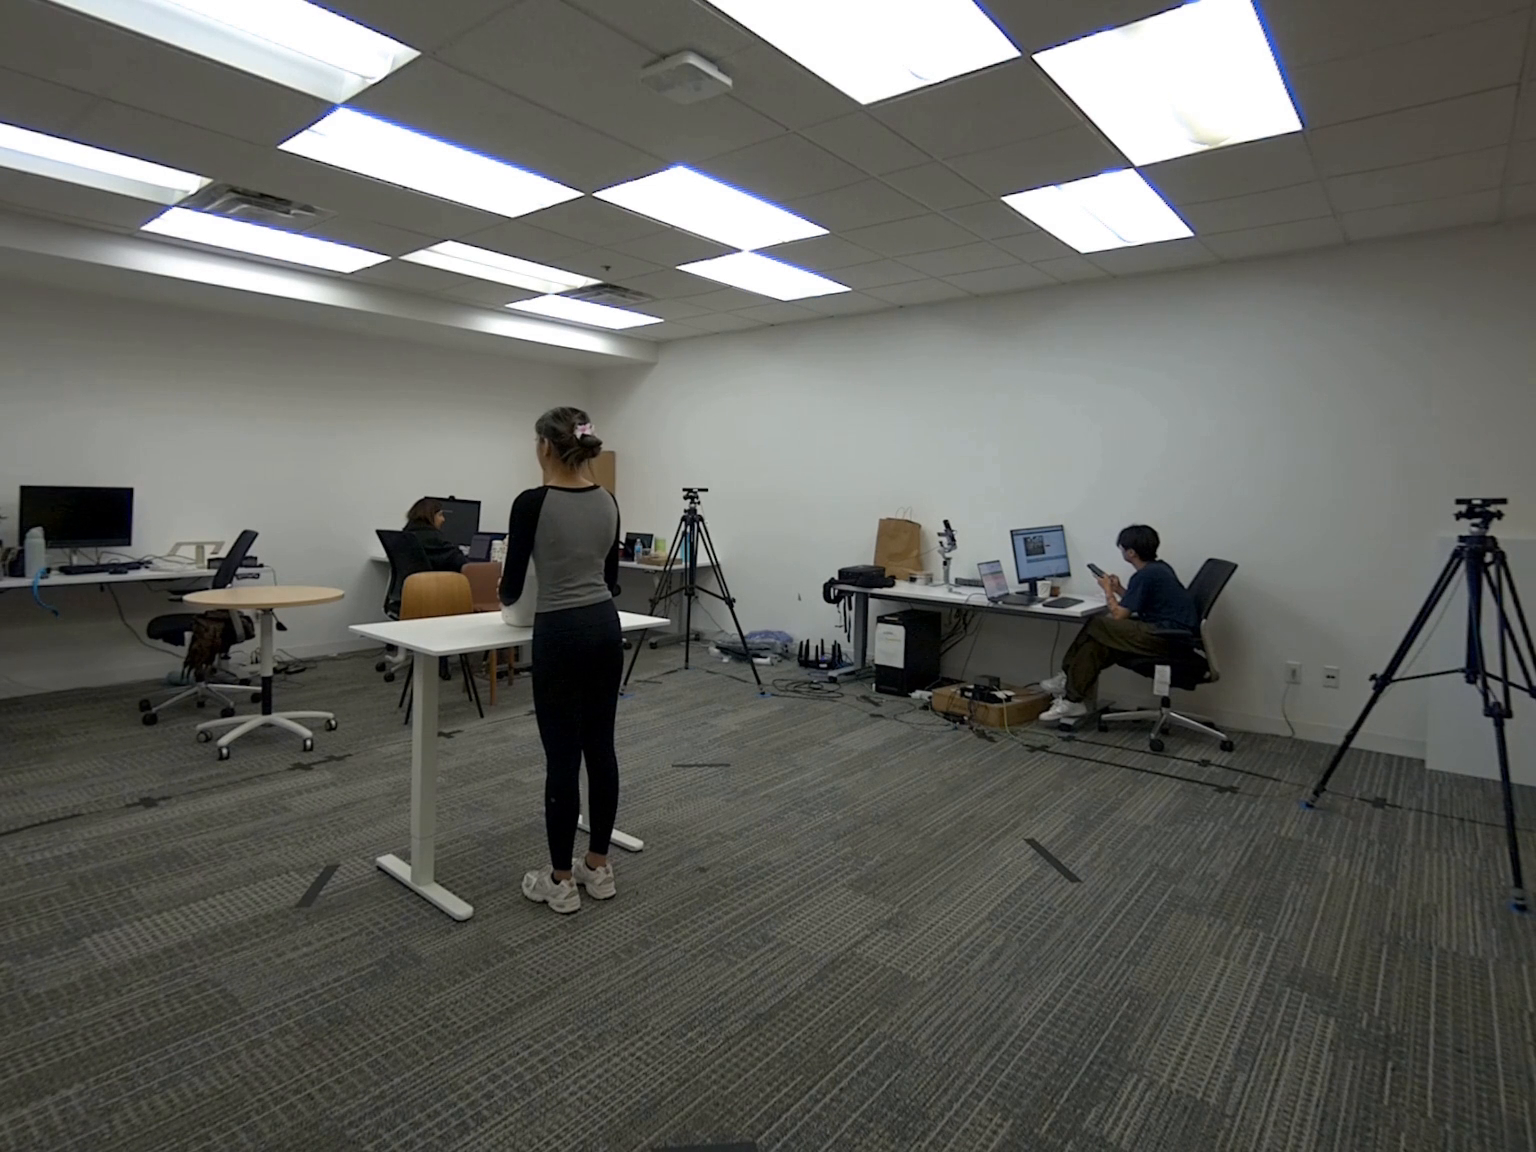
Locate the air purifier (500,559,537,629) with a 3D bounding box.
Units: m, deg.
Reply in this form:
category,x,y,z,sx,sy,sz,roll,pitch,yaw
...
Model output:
category,x,y,z,sx,sy,sz,roll,pitch,yaw
air purifier,-0.893,0.043,3.124,0.166,0.265,0.177,0,4,-41
